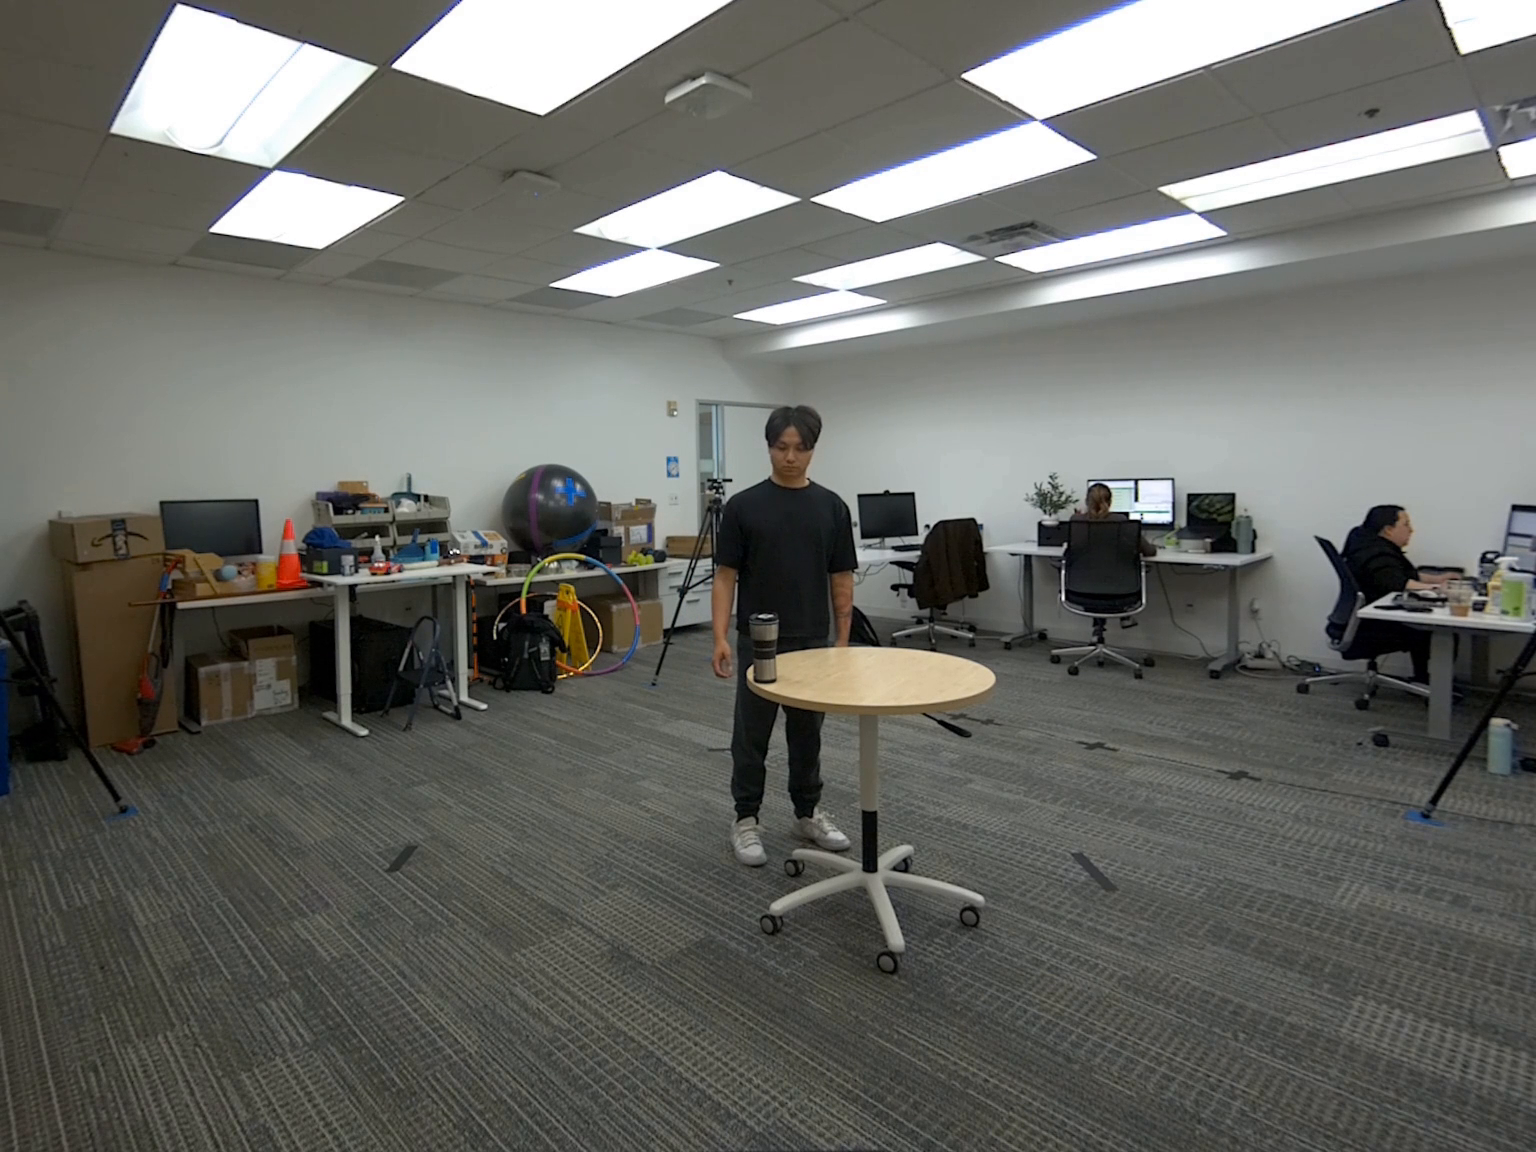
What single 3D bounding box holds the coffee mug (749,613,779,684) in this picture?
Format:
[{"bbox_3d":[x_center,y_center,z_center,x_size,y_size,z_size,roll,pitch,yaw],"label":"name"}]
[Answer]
[{"bbox_3d":[0.002,0.222,2.612,0.090,0.202,0.119,-2,5,42],"label":"coffee mug"}]
